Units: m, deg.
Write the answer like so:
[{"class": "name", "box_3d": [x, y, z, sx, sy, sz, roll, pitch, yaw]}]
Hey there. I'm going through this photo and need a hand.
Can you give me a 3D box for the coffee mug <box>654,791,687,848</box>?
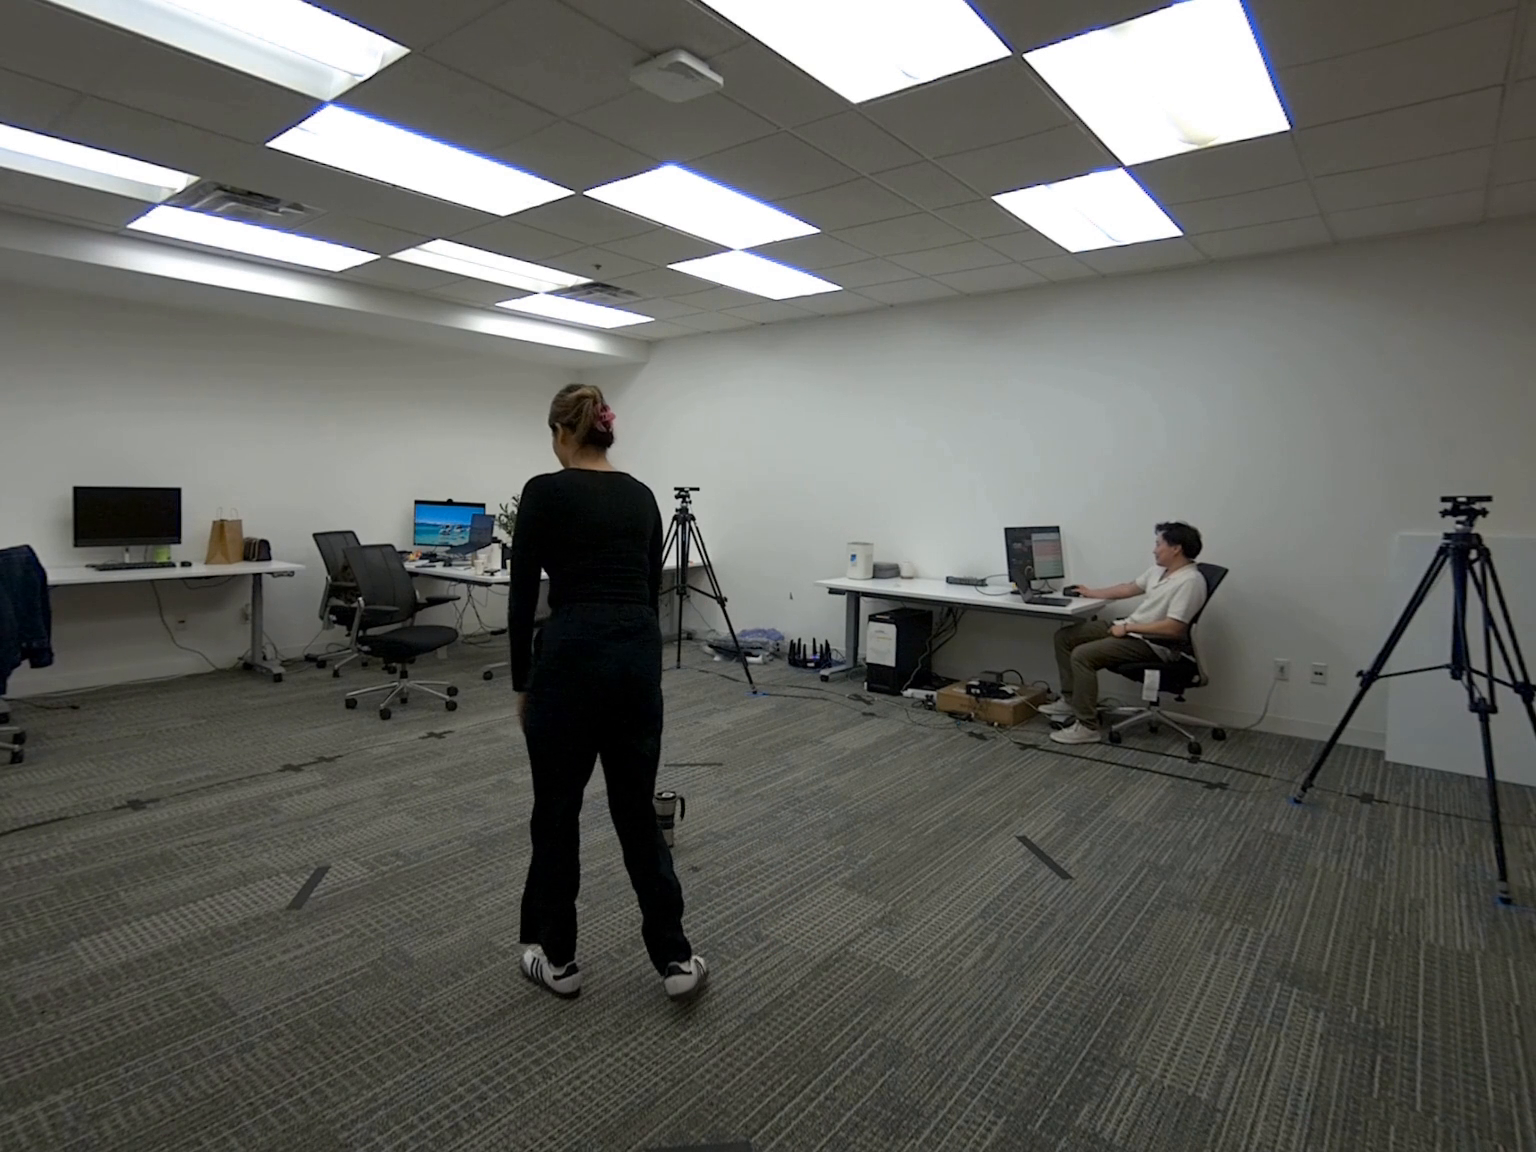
[{"class": "coffee mug", "box_3d": [-0.388, 0.943, 3.295, 0.124, 0.203, 0.086, -2, 0, 14]}]
